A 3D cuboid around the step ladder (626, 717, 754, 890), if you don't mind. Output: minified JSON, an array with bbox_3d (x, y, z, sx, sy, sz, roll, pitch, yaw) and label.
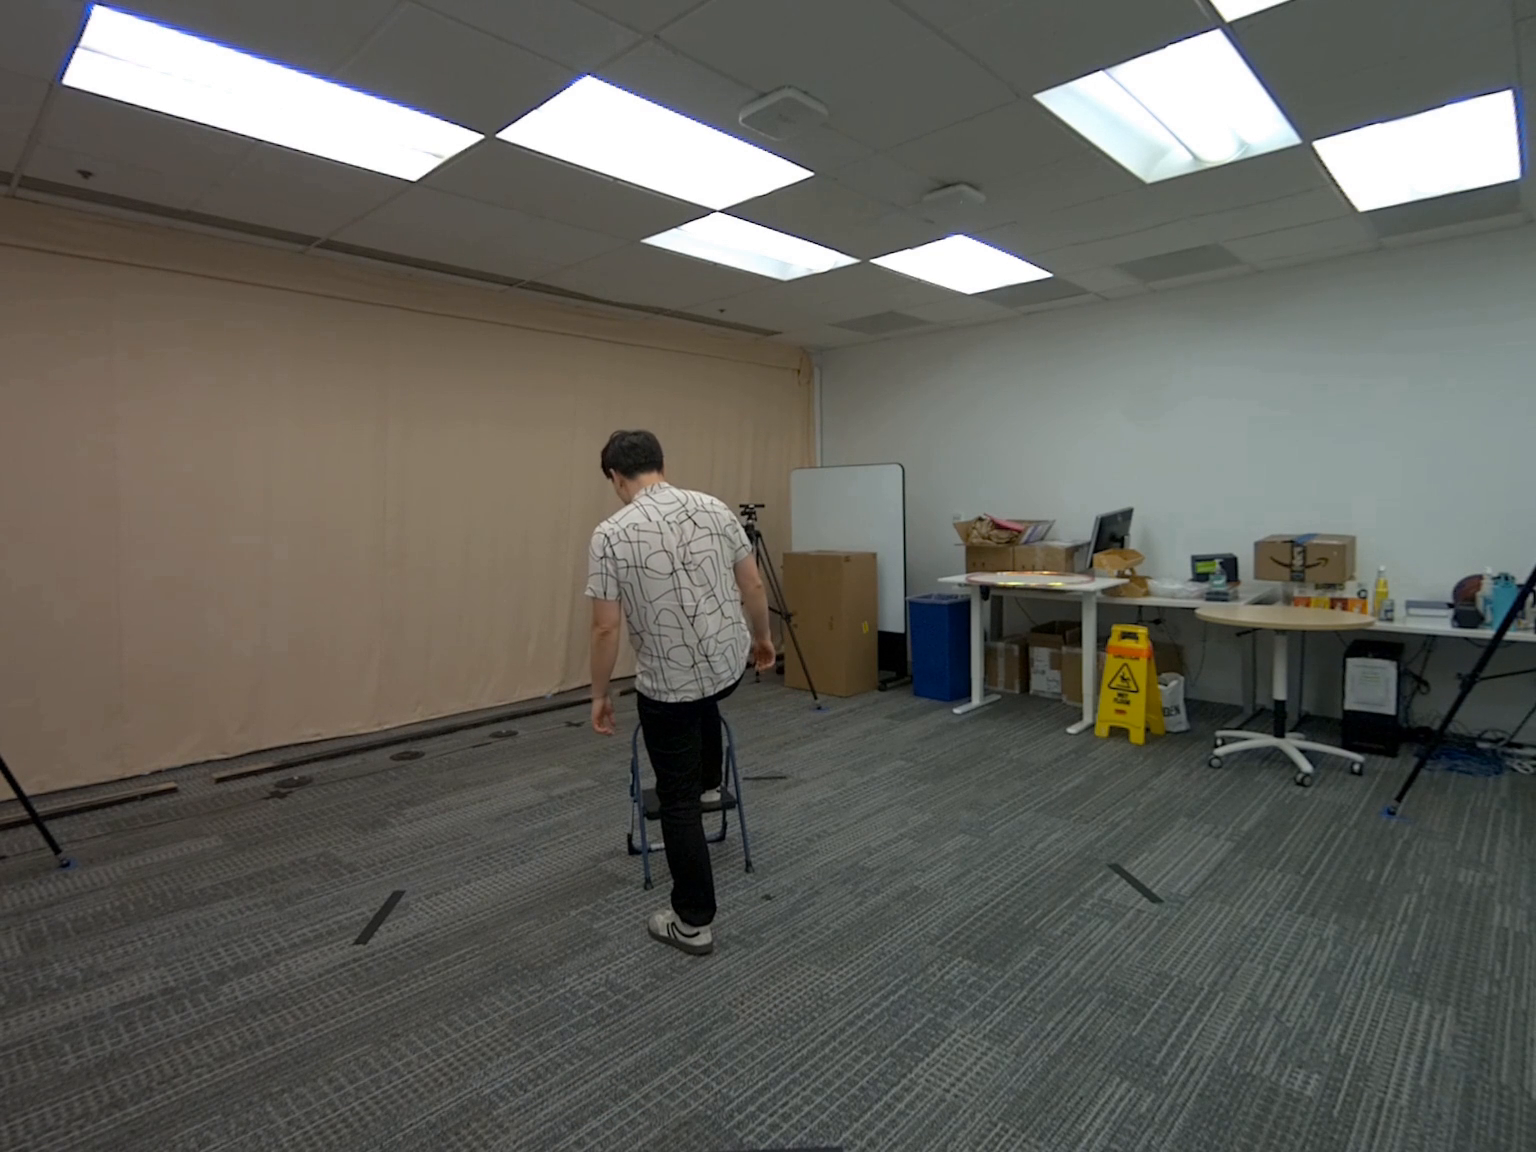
[{"bbox_3d":[-0.316,0.818,3.278,0.422,0.605,0.357,-3,3,-20],"label":"step ladder"}]
